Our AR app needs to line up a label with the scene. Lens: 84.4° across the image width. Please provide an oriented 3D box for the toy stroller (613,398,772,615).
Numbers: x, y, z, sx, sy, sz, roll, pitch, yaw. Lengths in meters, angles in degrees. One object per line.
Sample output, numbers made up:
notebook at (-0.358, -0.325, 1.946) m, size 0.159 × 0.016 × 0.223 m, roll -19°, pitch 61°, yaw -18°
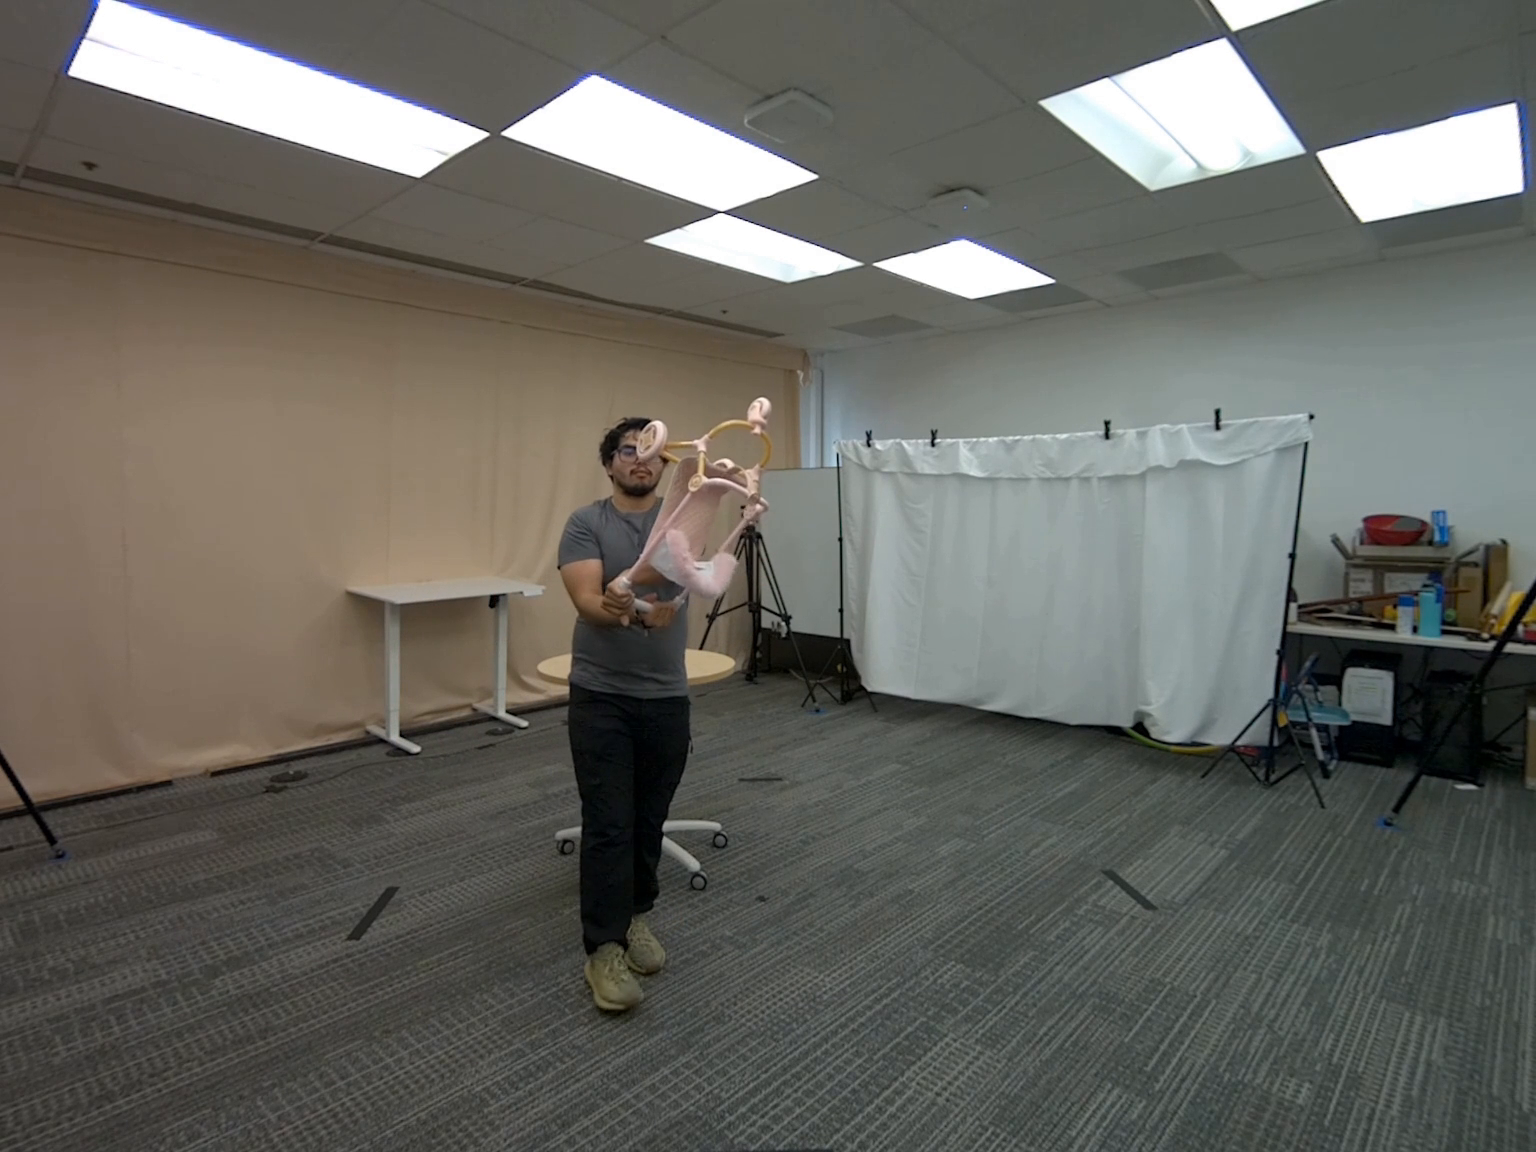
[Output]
toy stroller at (-0.150, -0.170, 2.100) m, size 0.351 × 0.539 × 0.271 m, roll -7°, pitch -25°, yaw 39°
